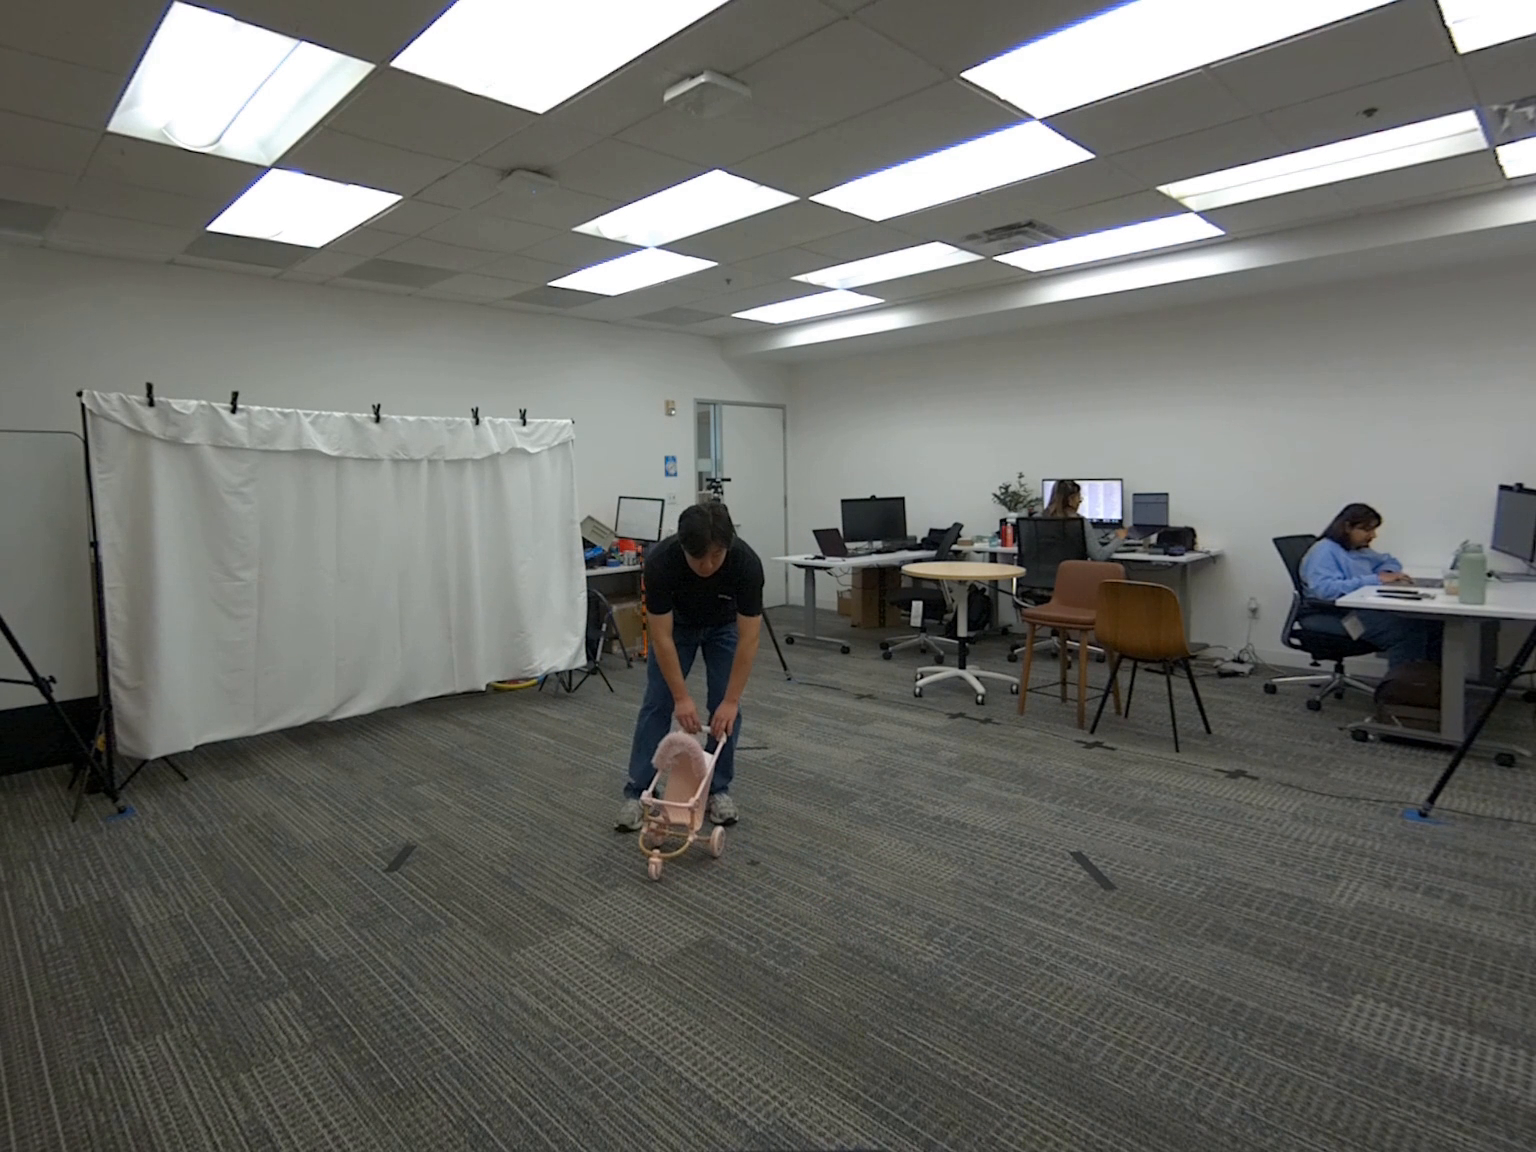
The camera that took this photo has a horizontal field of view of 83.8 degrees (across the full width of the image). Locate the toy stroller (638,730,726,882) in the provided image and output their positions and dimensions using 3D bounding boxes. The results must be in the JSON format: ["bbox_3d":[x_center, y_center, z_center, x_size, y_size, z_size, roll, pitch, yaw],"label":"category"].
[{"bbox_3d":[-0.332,0.823,3.141,0.288,0.539,0.330,1,-10,28],"label":"toy stroller"}]
